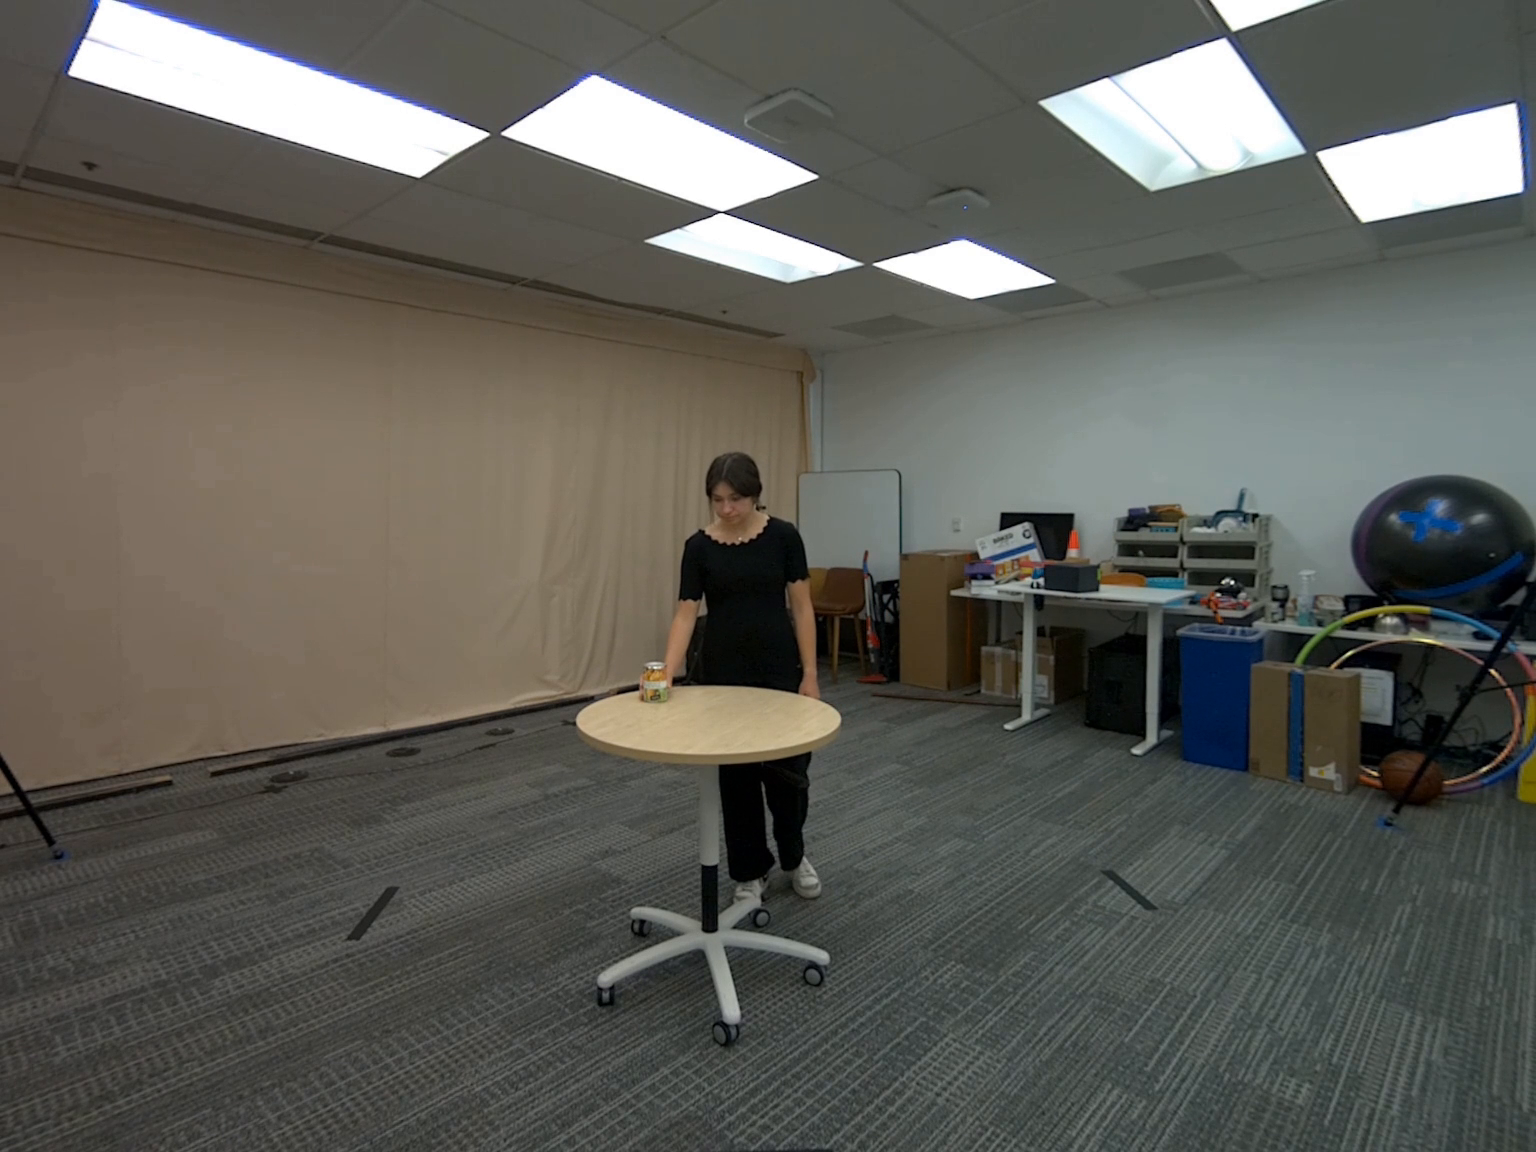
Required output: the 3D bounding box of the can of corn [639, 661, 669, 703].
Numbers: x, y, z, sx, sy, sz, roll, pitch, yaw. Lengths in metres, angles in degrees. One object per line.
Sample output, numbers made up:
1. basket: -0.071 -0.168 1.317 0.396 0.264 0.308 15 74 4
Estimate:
1. can of corn: -0.358 0.333 2.631 0.074 0.111 0.074 -3 5 -2
